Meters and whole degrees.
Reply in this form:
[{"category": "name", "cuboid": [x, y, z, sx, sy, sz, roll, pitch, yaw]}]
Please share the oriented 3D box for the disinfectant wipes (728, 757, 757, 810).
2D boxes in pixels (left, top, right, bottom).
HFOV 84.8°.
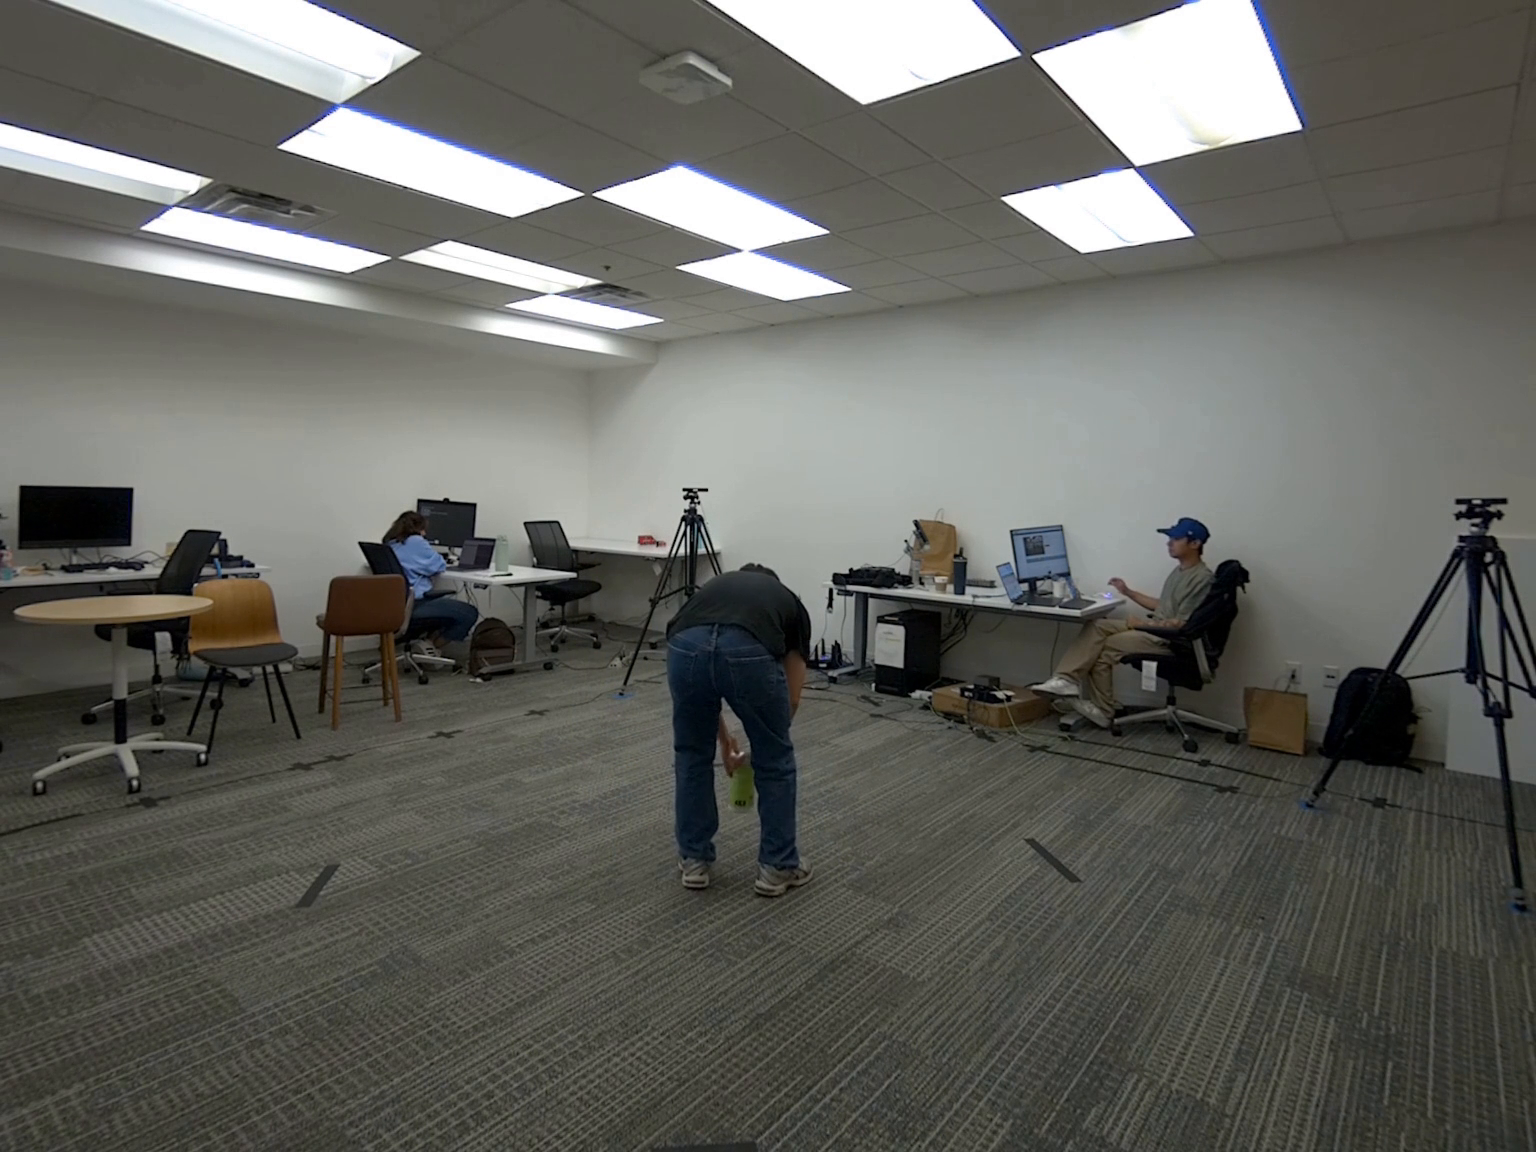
[{"category": "disinfectant wipes", "cuboid": [-0.108, 0.796, 3.353, 0.118, 0.218, 0.118, 0, -2, -2]}]
